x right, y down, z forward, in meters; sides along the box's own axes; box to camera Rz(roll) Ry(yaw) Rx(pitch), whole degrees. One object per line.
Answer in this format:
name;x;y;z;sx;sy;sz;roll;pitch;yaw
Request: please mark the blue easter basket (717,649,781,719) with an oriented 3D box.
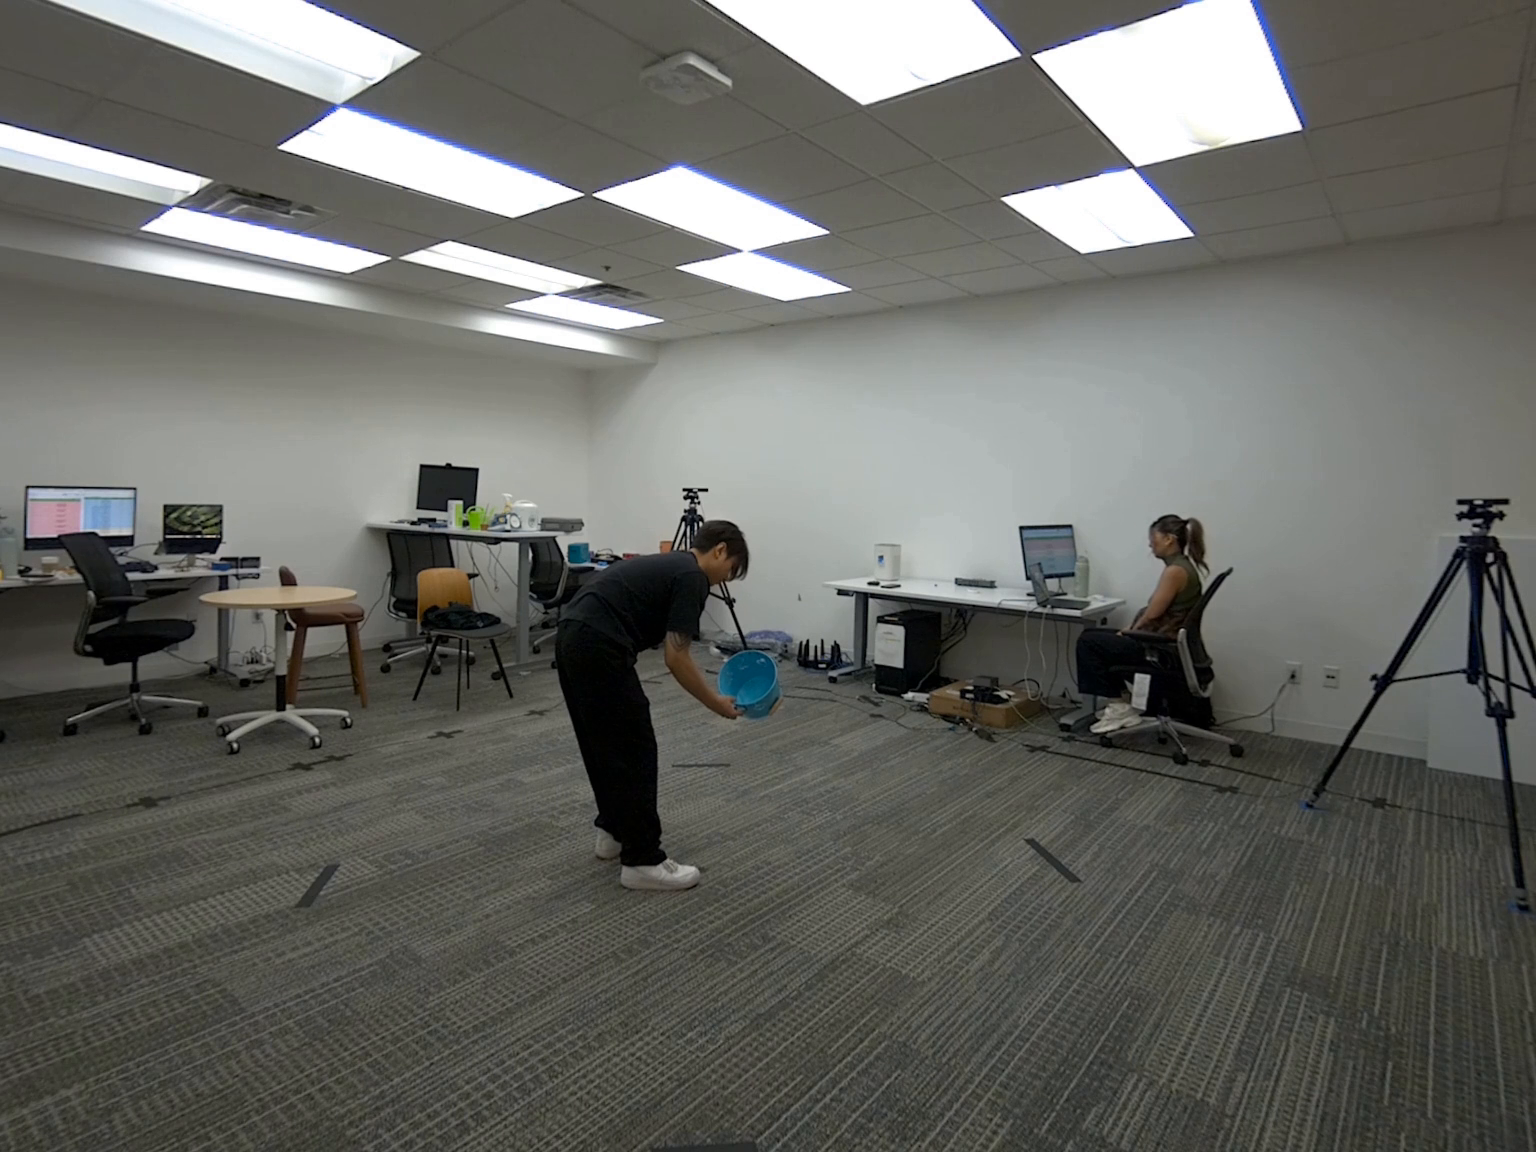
blue easter basket;-0.070;0.431;3.209;0.250;0.247;0.149;3;-36;28
